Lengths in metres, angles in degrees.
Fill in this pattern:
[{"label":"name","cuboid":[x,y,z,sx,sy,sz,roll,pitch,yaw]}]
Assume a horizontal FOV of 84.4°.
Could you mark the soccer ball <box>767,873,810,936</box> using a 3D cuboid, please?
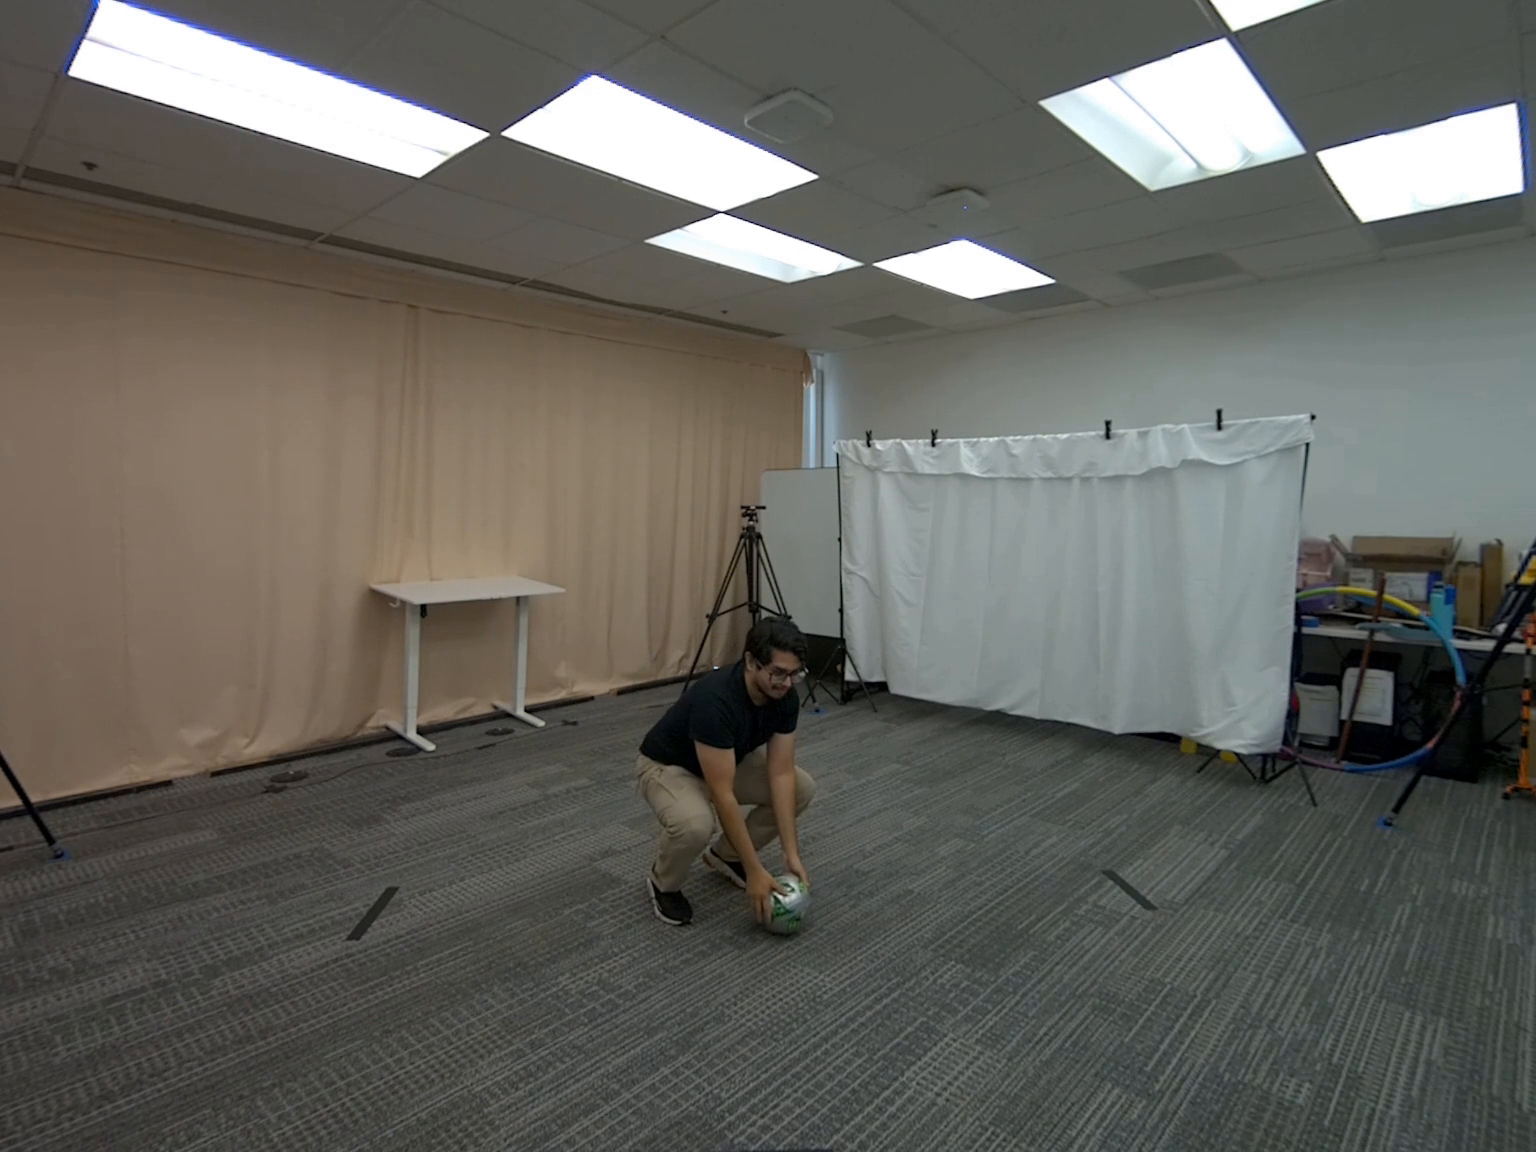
[{"label":"soccer ball","cuboid":[0.046,1.048,2.746,0.187,0.187,0.188,0,4,-2]}]
